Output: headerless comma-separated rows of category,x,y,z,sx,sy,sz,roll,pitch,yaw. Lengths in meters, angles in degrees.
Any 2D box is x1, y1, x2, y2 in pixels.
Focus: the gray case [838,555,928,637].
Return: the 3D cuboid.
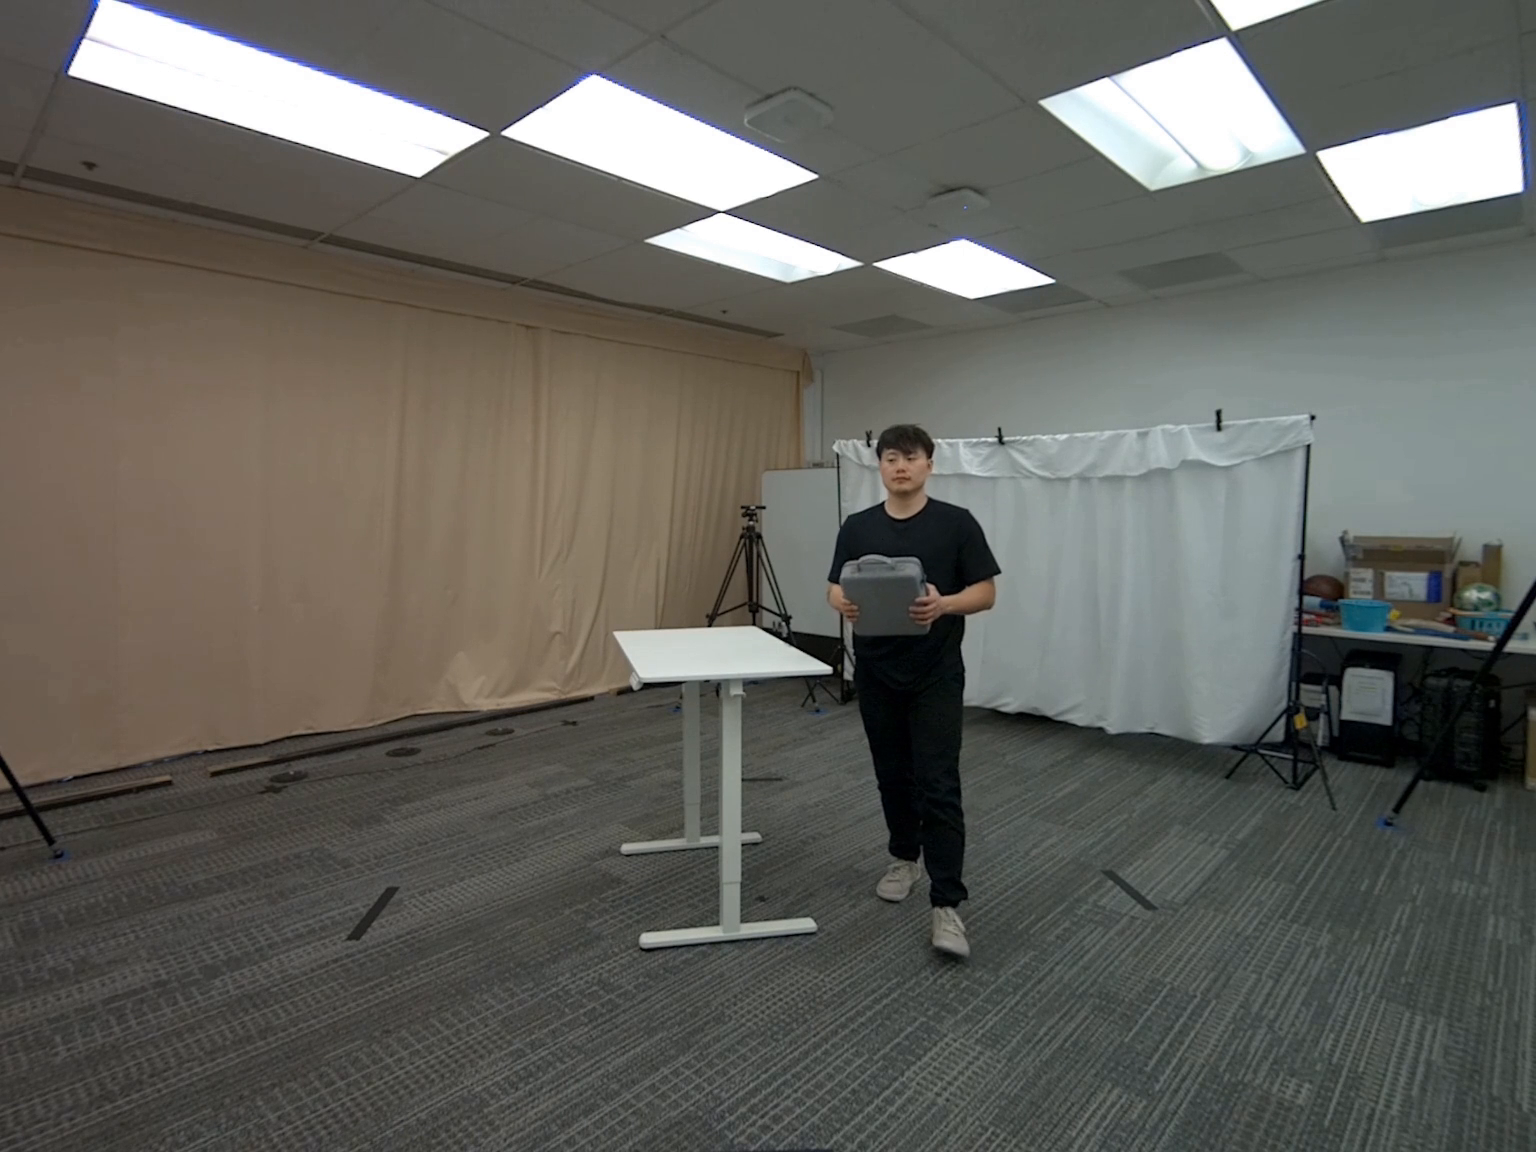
gray case,0.383,0.065,2.666,0.263,0.254,0.104,-3,34,26
